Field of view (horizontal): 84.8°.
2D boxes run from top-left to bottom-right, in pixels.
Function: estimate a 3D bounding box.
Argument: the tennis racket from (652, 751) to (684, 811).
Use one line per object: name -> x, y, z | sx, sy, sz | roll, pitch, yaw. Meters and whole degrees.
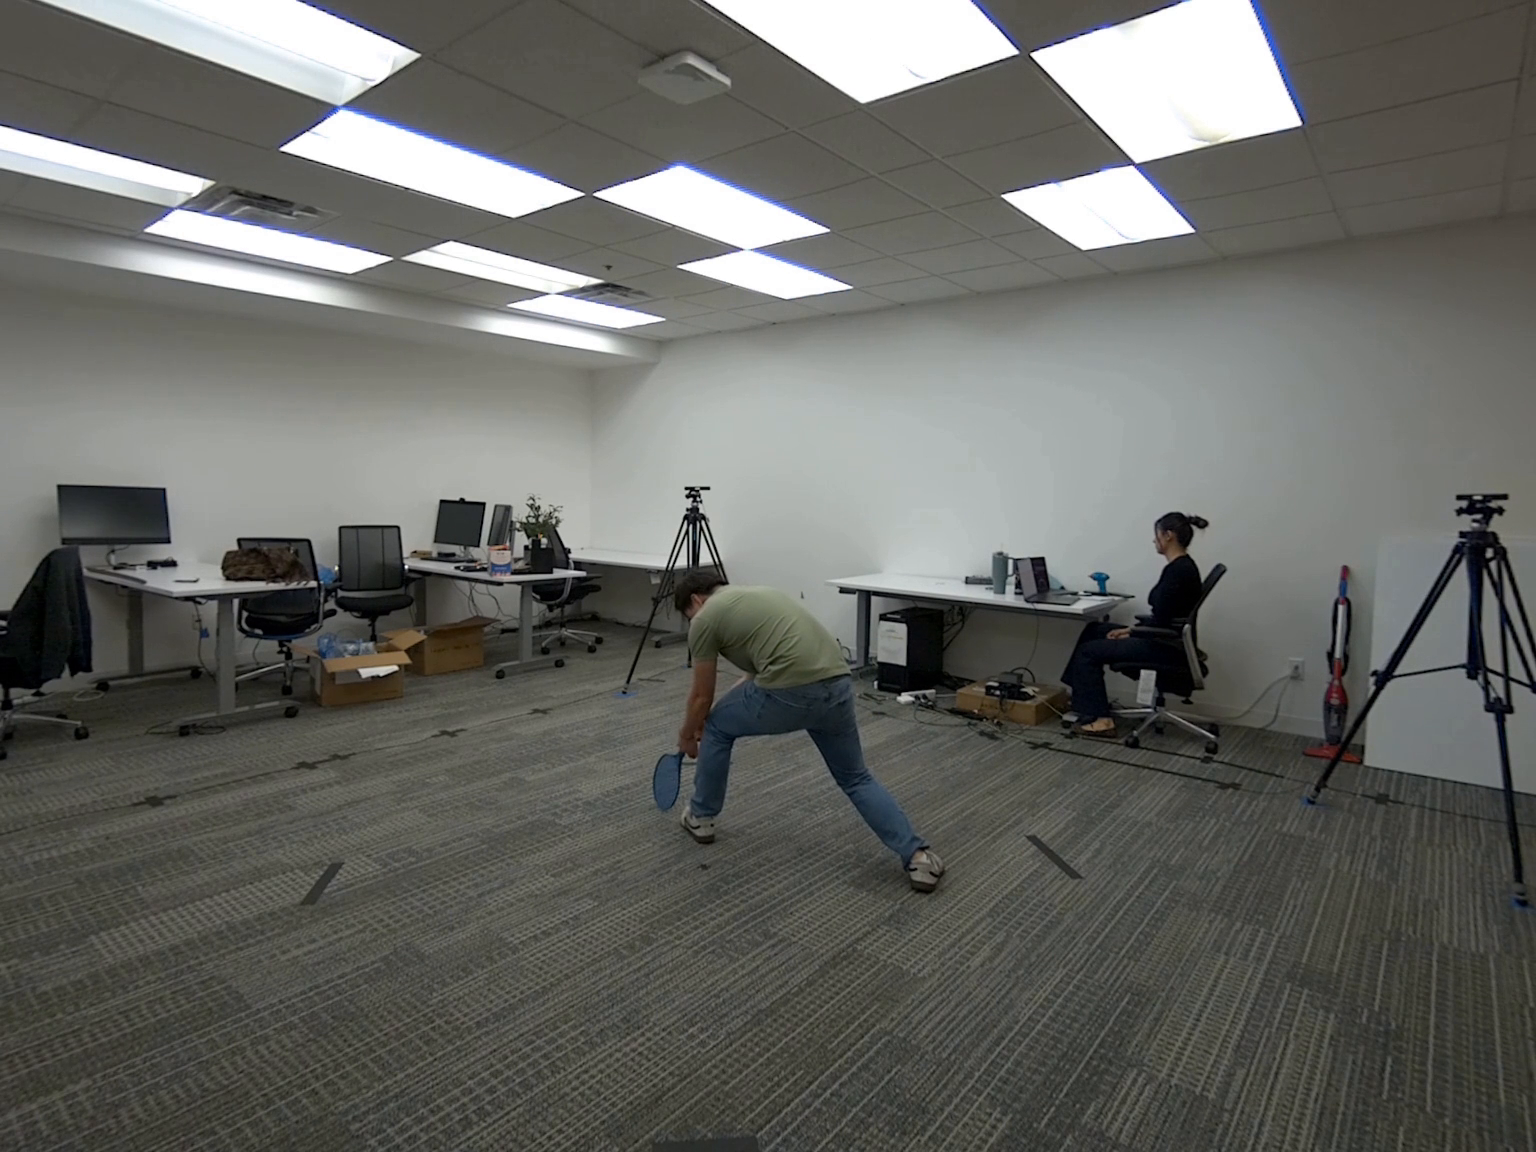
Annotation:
tennis racket -> -0.420, 0.816, 3.613 | 0.031, 0.427, 0.222 | 4, 38, -30
